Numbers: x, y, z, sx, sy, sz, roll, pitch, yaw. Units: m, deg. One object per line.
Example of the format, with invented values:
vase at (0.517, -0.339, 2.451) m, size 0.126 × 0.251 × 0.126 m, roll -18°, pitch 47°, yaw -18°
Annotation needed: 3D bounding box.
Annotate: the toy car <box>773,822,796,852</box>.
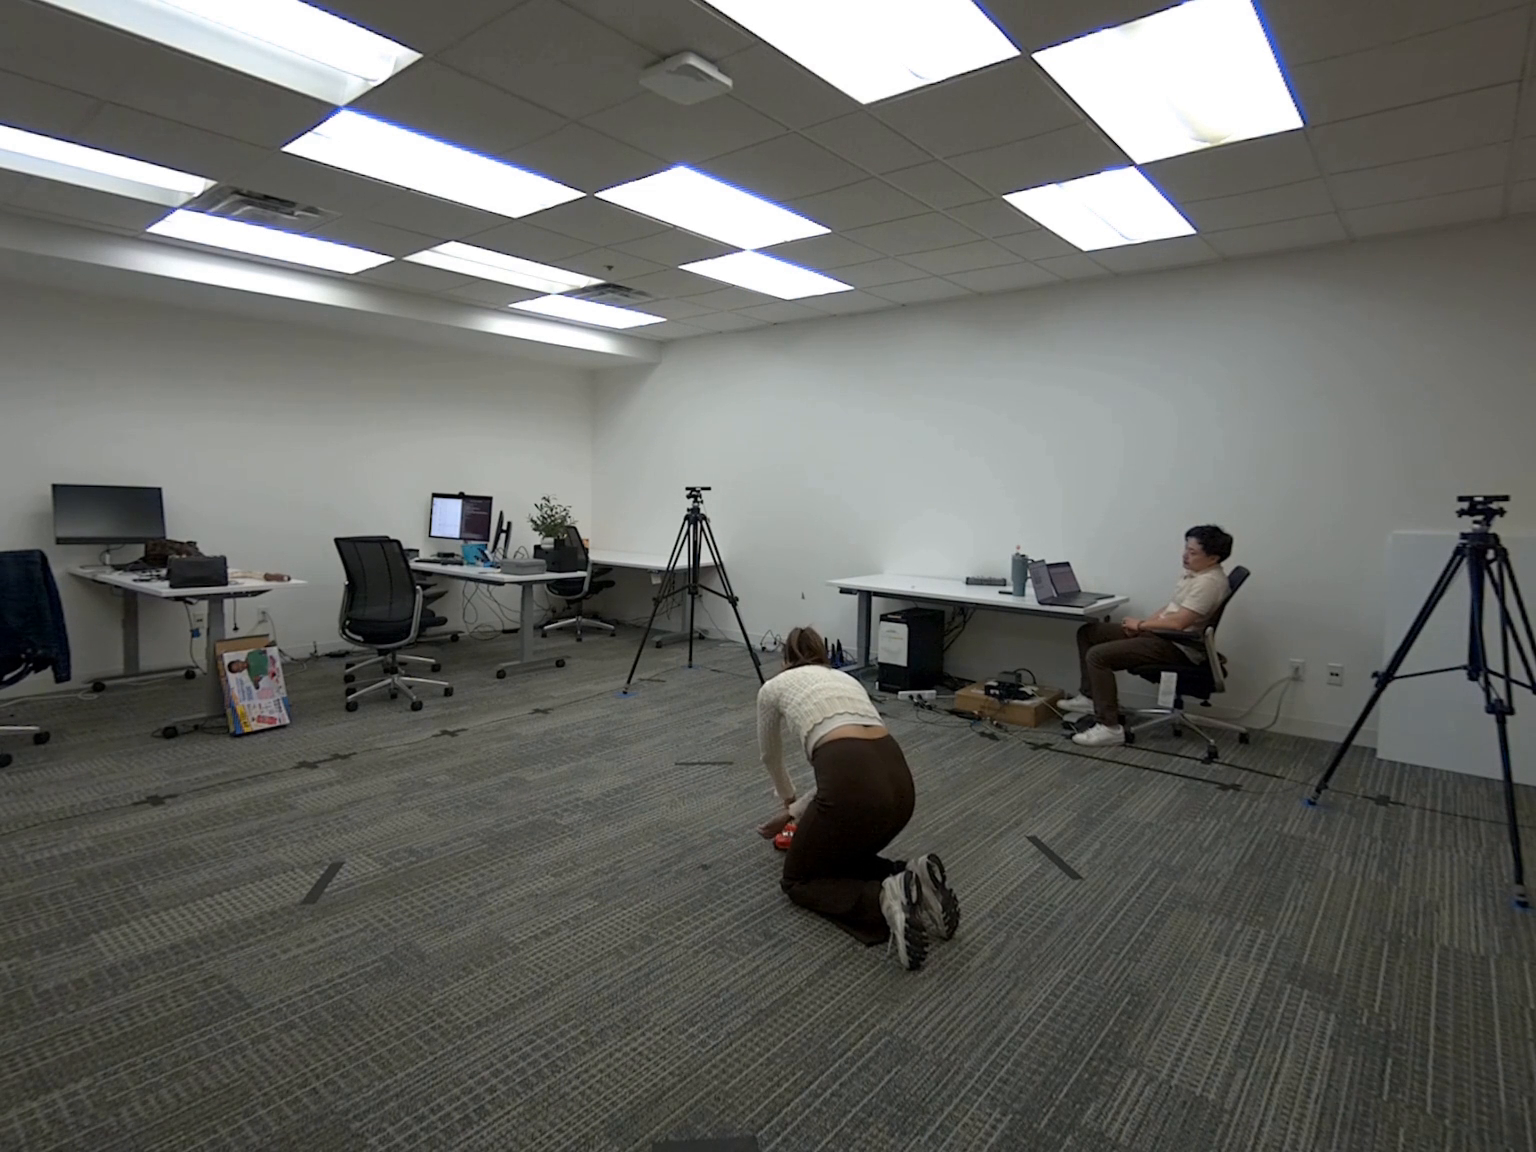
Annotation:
toy car at (0.074, 1.015, 3.343) m, size 0.130 × 0.084 × 0.252 m, roll 0°, pitch -5°, yaw 0°
